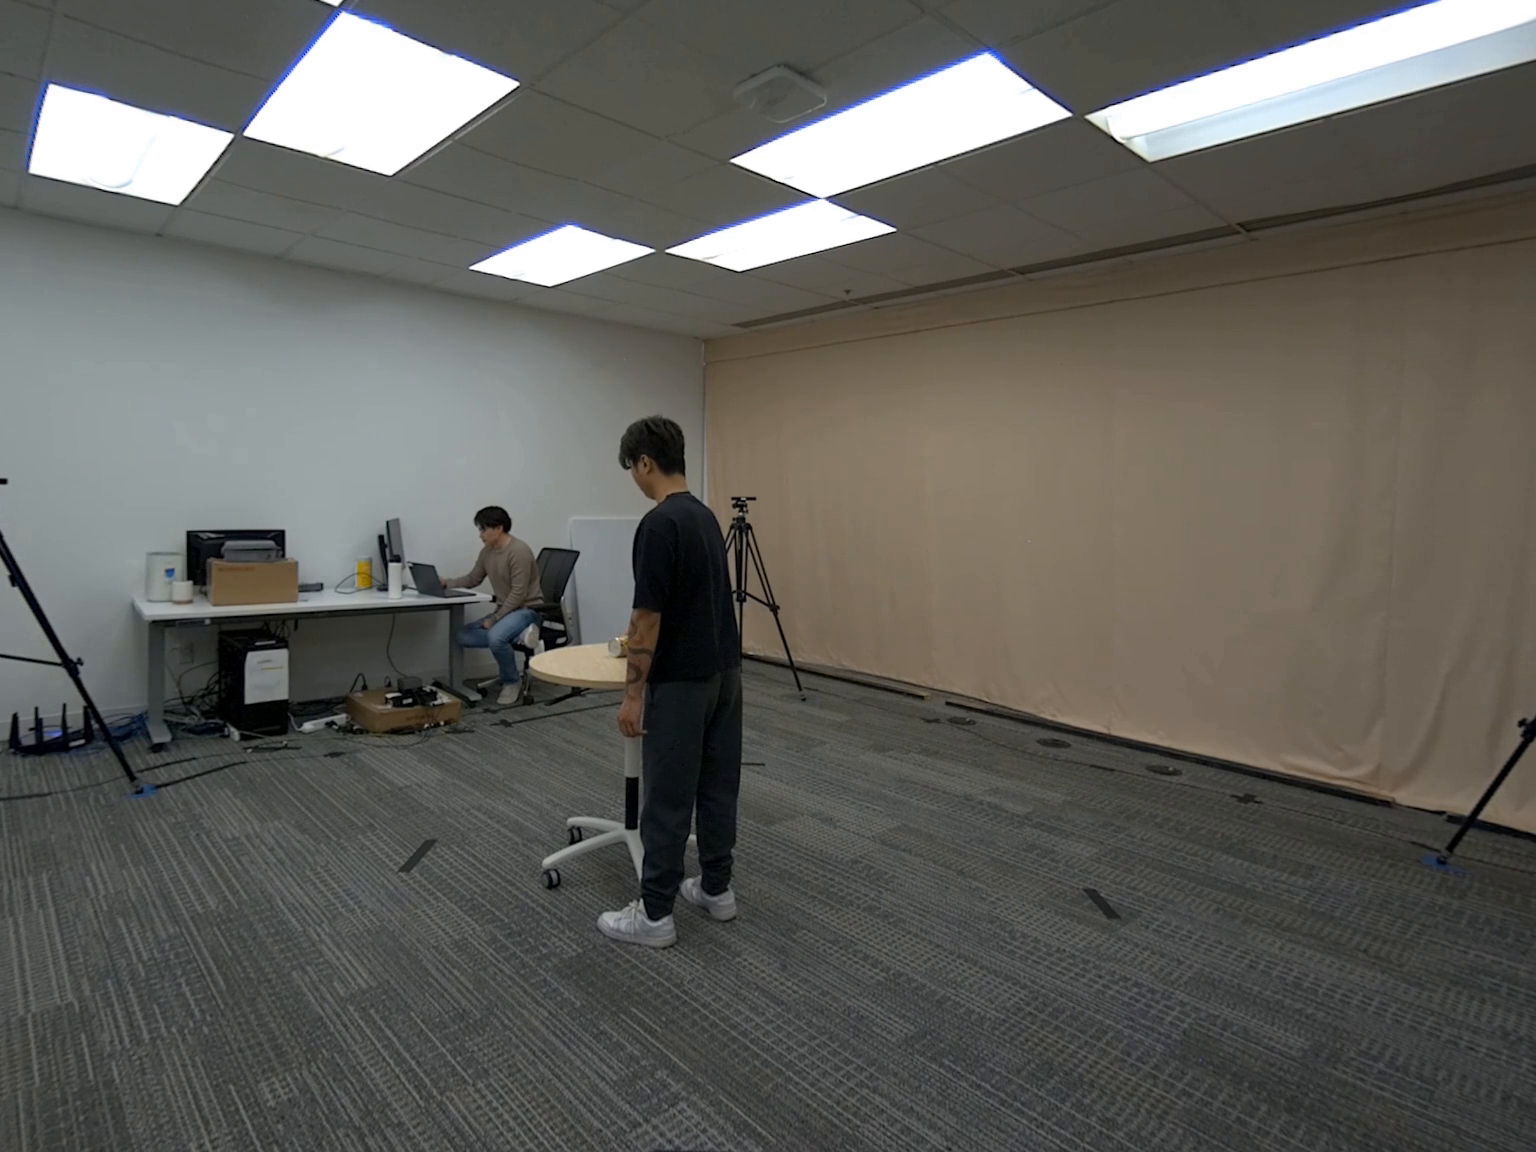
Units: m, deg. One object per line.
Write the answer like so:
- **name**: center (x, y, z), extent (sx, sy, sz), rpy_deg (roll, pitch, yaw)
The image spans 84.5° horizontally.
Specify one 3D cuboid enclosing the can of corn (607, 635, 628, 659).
- **can of corn**: center (-0.551, 0.263, 3.225), extent (0.076, 0.074, 0.108), rpy_deg (4, 5, 37)
